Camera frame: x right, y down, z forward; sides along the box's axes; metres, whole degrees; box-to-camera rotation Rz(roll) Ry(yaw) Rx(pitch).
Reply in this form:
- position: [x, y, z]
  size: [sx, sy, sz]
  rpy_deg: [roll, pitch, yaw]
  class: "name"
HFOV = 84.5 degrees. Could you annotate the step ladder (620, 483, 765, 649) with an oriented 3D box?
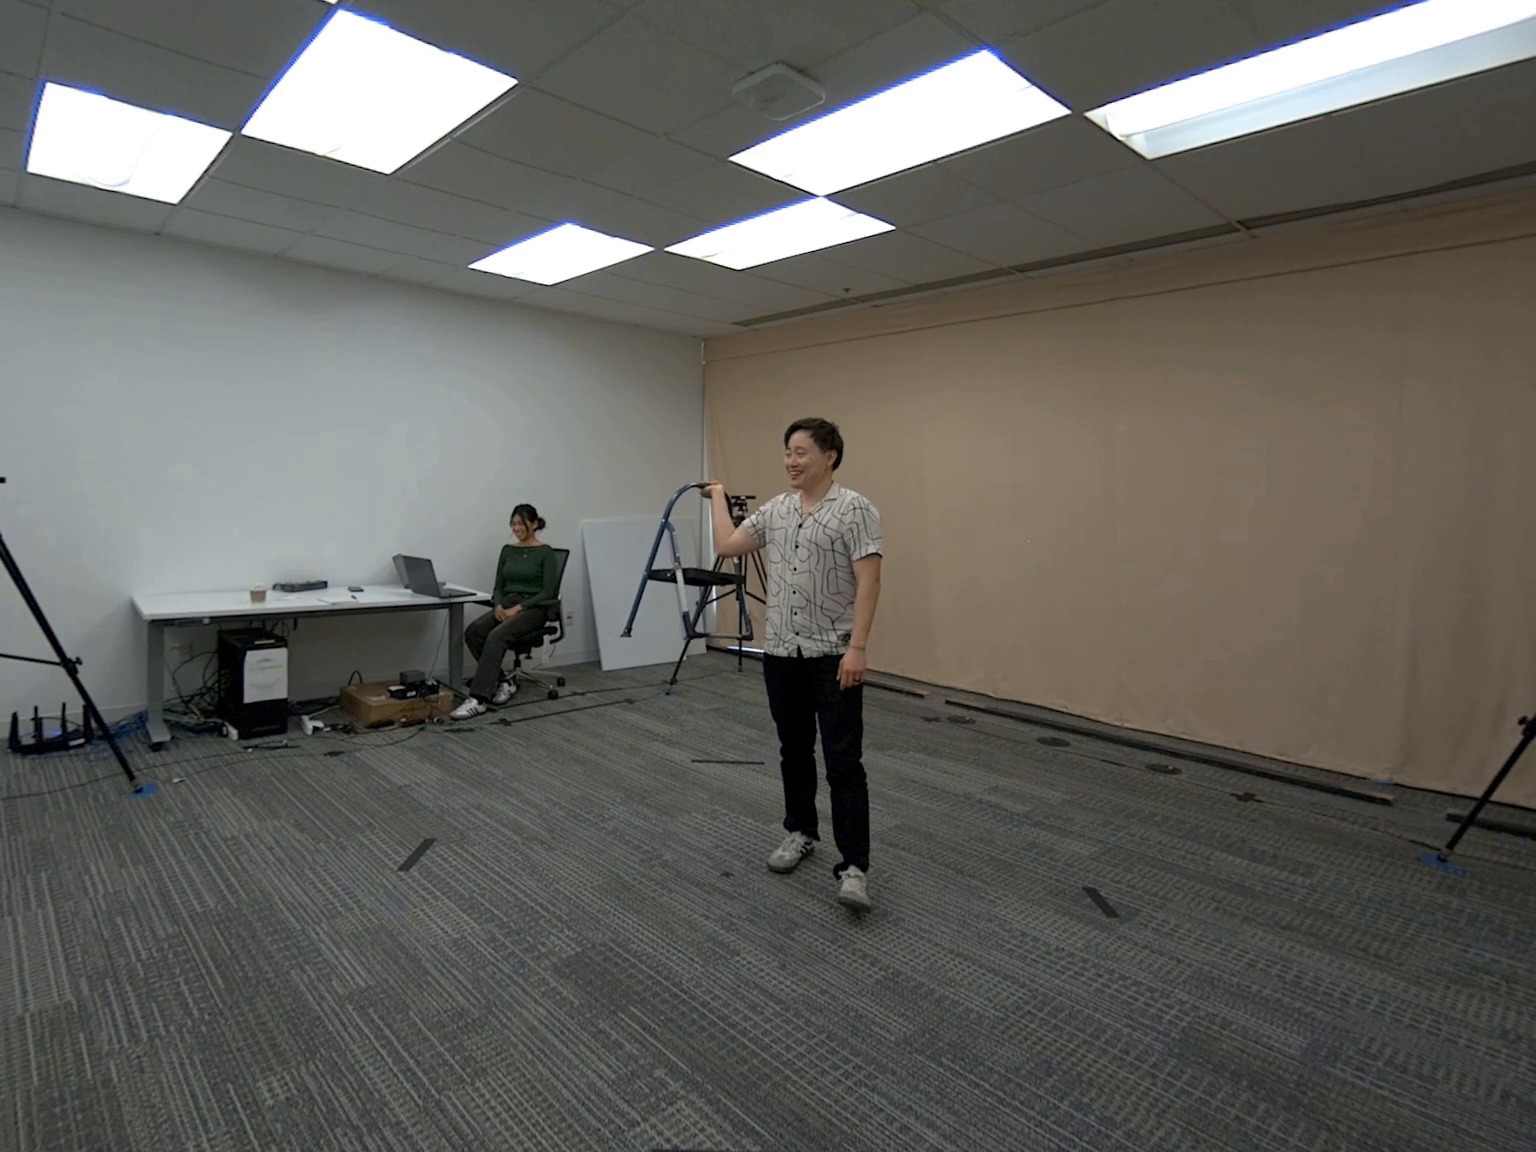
- position: [-0.300, -0.059, 3.342]
  size: [0.357, 0.608, 0.420]
  rpy_deg: [-1, -6, 34]
  class: "step ladder"
